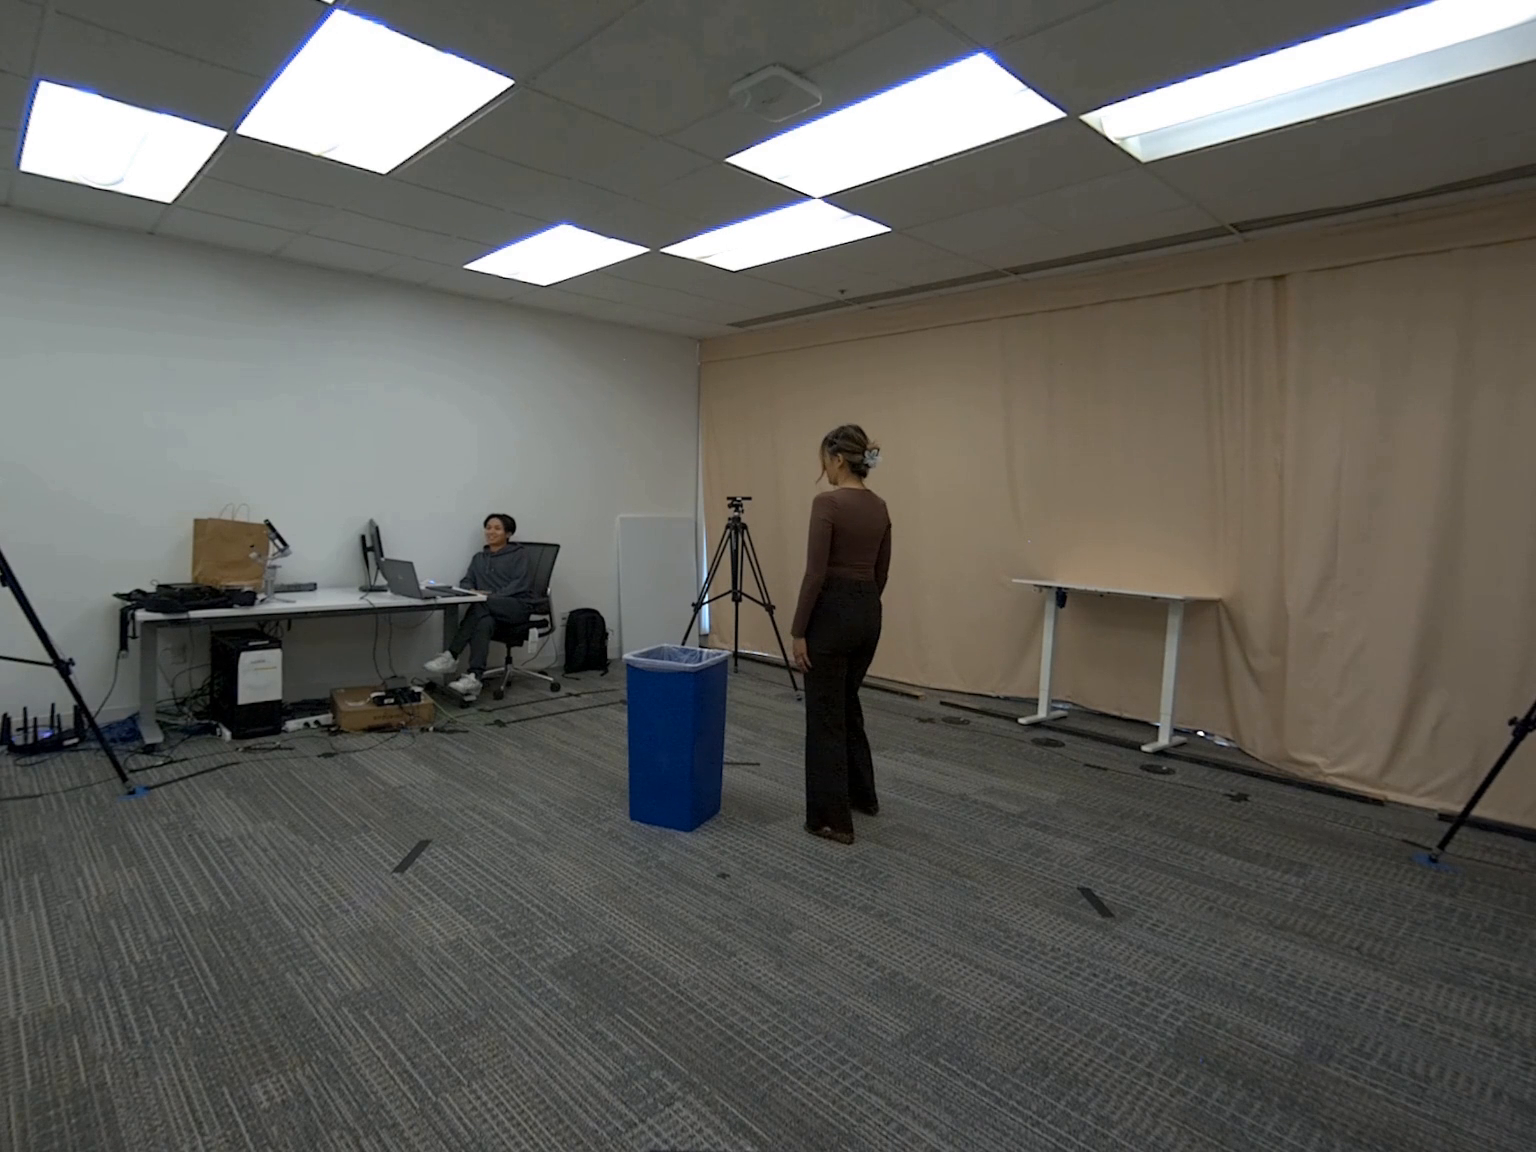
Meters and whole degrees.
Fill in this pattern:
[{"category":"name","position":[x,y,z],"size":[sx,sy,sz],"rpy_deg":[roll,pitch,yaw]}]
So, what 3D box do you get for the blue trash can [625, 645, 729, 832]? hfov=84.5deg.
[{"category":"blue trash can","position":[-0.404,0.693,3.664],"size":[0.385,0.712,0.368],"rpy_deg":[2,3,24]}]
